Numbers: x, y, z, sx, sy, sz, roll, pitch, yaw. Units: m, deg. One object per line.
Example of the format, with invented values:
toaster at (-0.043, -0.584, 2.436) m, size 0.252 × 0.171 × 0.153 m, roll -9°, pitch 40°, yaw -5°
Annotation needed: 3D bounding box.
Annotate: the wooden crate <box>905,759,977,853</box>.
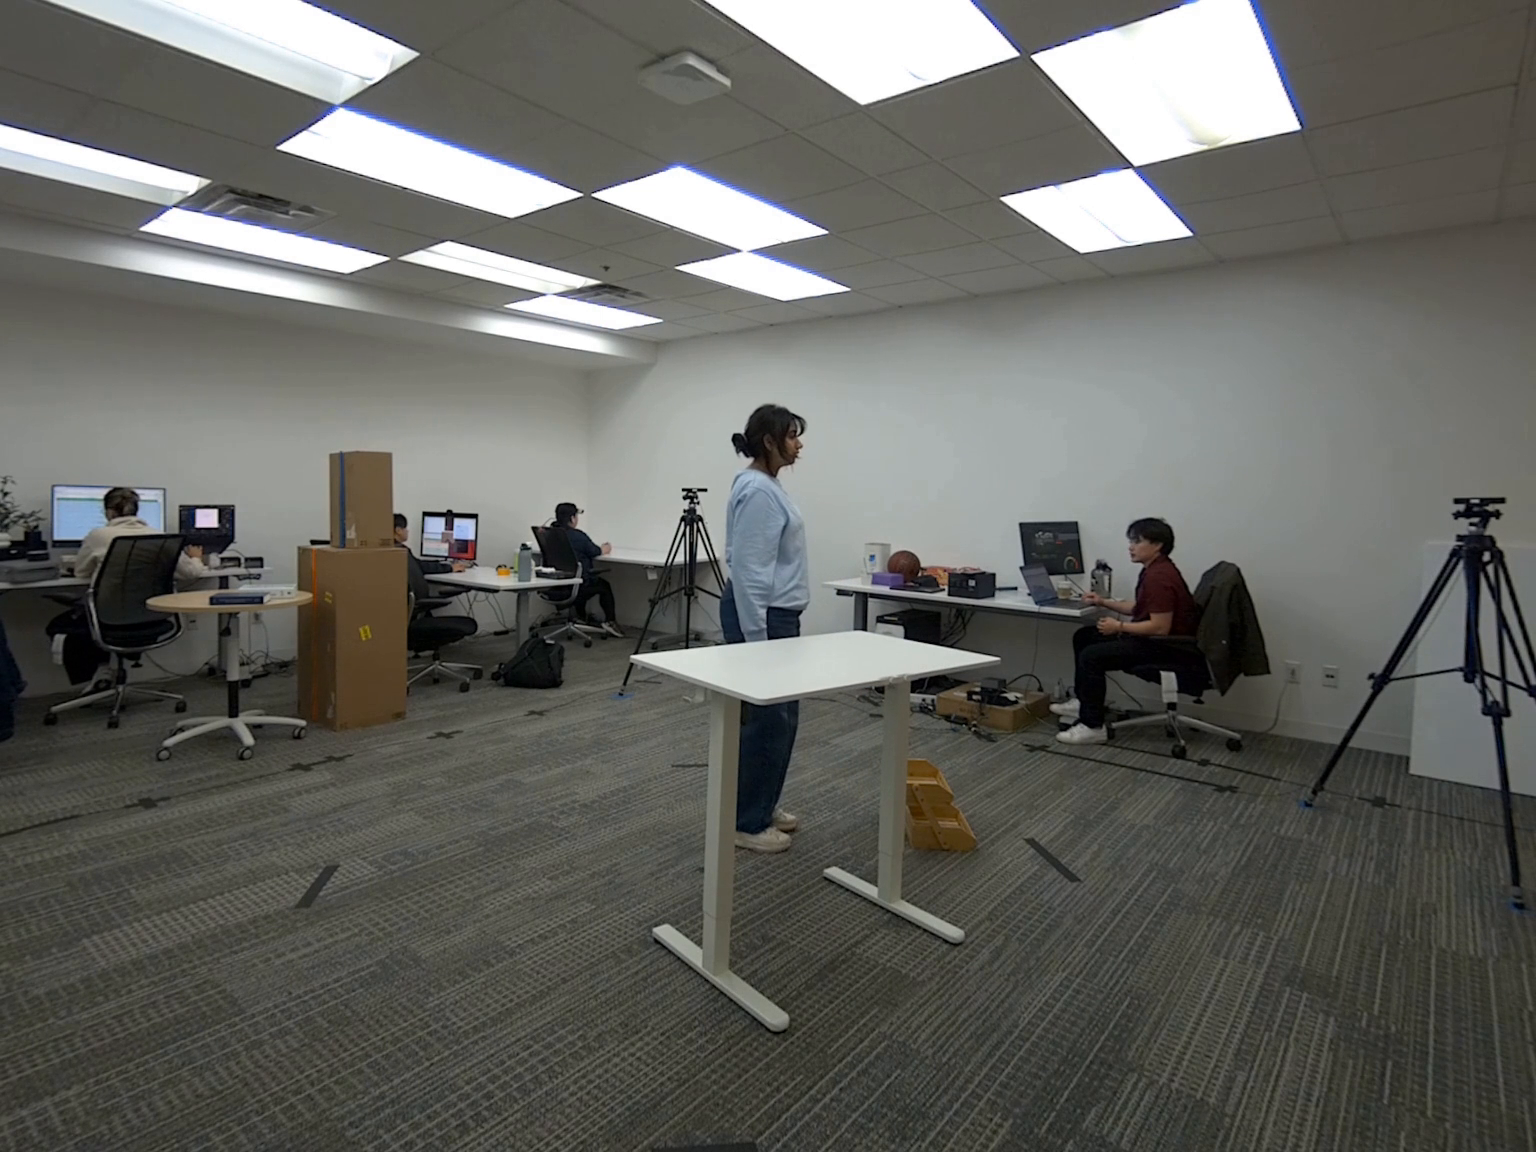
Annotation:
wooden crate at (0.668, 0.922, 3.473) m, size 0.303 × 0.272 × 0.325 m, roll 1°, pitch 5°, yaw 2°
